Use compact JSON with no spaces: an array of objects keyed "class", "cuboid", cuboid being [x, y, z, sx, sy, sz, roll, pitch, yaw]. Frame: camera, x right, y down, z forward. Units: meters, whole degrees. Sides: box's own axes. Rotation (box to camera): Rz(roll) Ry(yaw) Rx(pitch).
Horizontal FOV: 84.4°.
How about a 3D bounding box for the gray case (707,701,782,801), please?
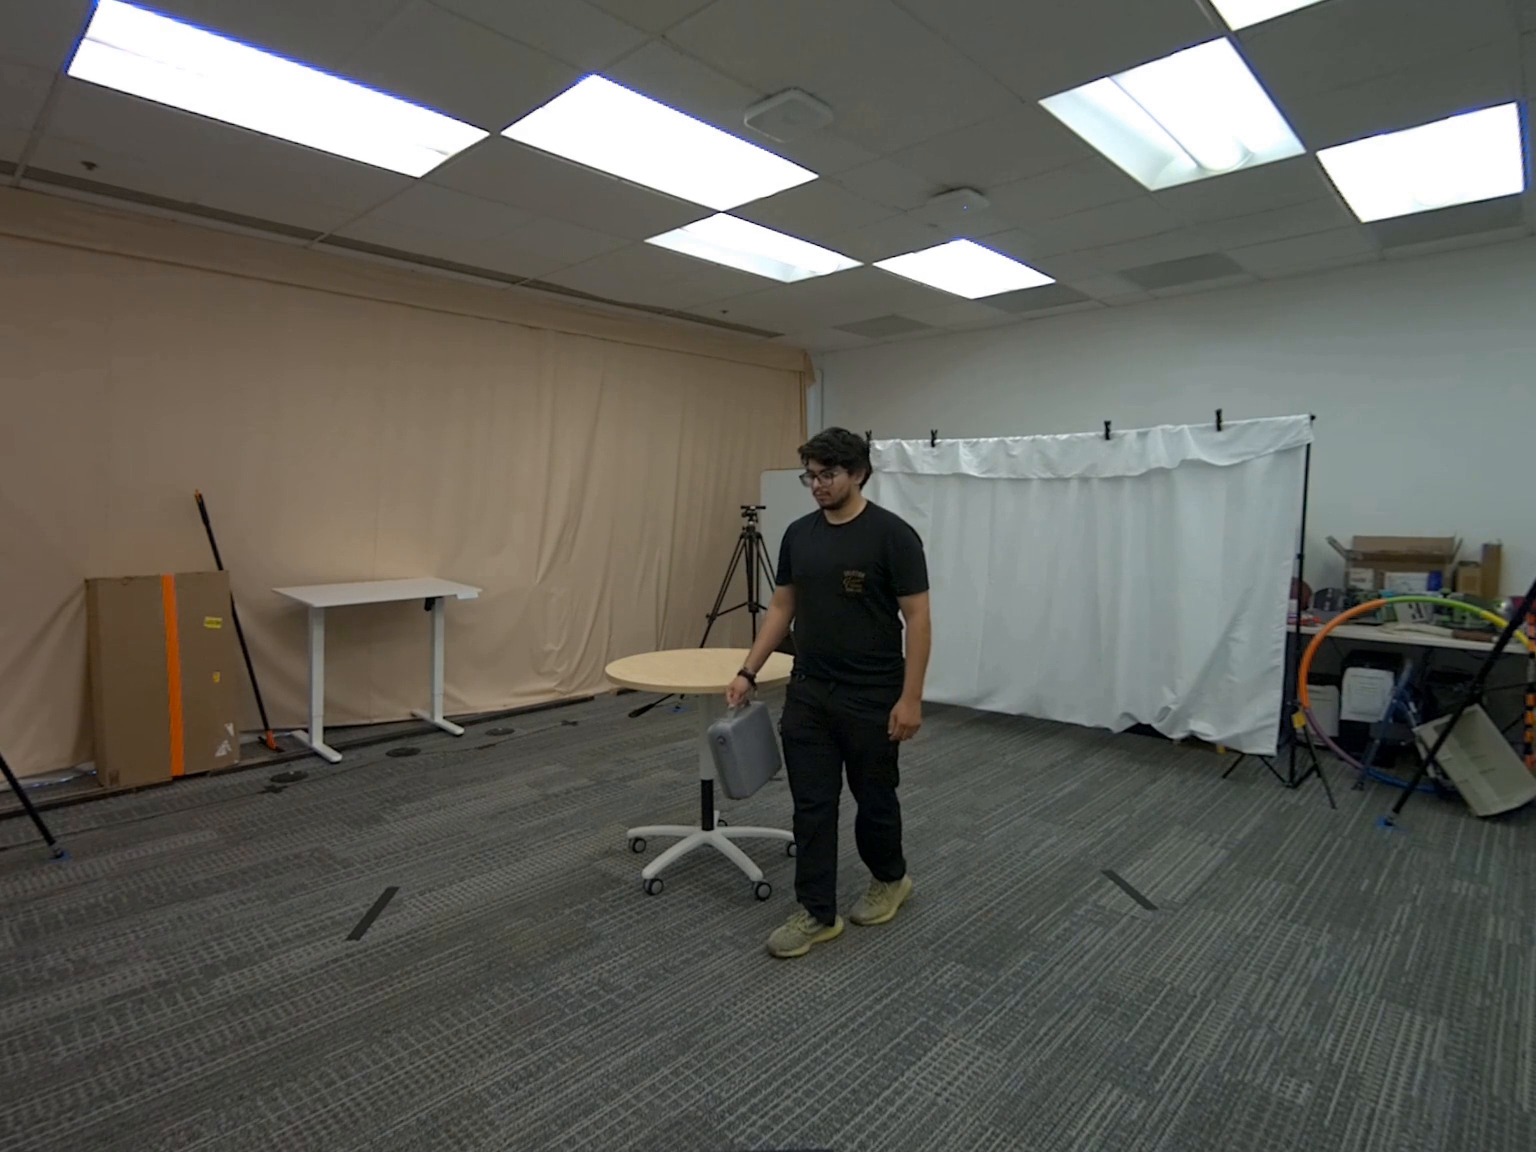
[{"class":"gray case","cuboid":[-0.069,0.563,2.769,0.107,0.259,0.251,-11,7,34]}]
